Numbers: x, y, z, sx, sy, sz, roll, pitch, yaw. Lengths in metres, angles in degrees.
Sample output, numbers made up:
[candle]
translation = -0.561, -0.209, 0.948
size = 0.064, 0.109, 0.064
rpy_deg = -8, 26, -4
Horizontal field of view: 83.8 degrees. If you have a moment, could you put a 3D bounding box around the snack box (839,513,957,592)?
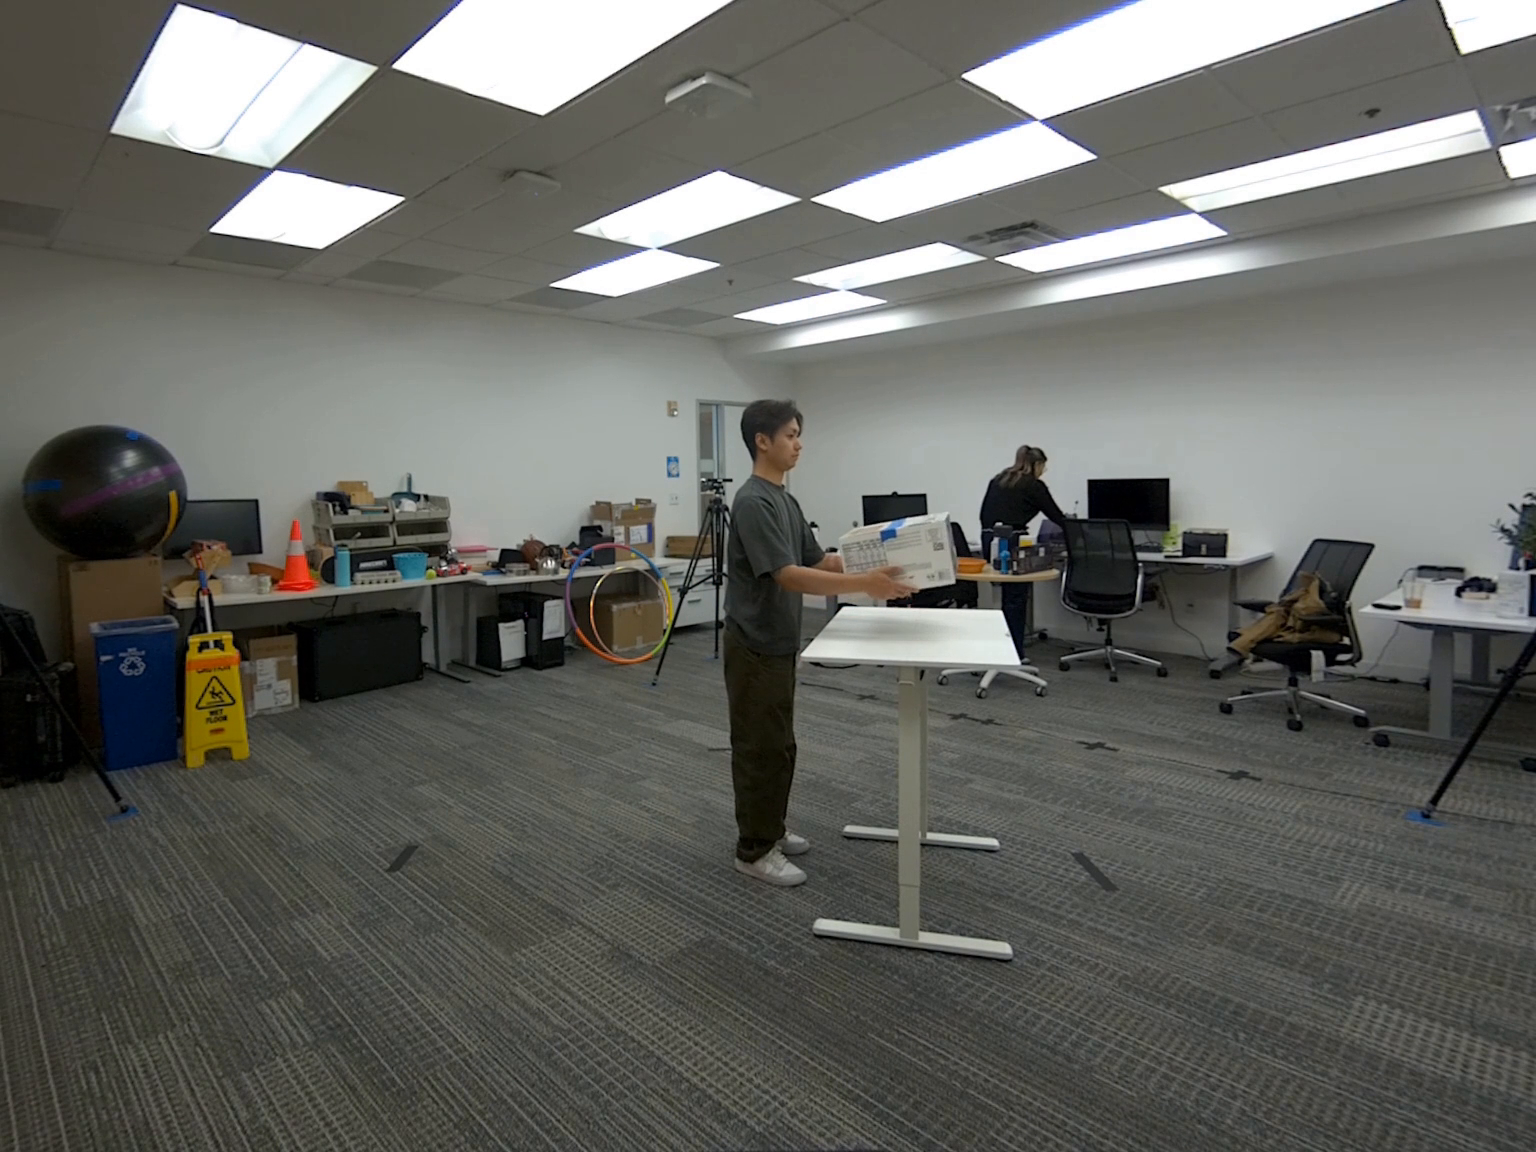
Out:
[snack box]
translation = 0.446, -0.072, 2.883
size = 0.345, 0.205, 0.401
rpy_deg = -9, 5, 16
